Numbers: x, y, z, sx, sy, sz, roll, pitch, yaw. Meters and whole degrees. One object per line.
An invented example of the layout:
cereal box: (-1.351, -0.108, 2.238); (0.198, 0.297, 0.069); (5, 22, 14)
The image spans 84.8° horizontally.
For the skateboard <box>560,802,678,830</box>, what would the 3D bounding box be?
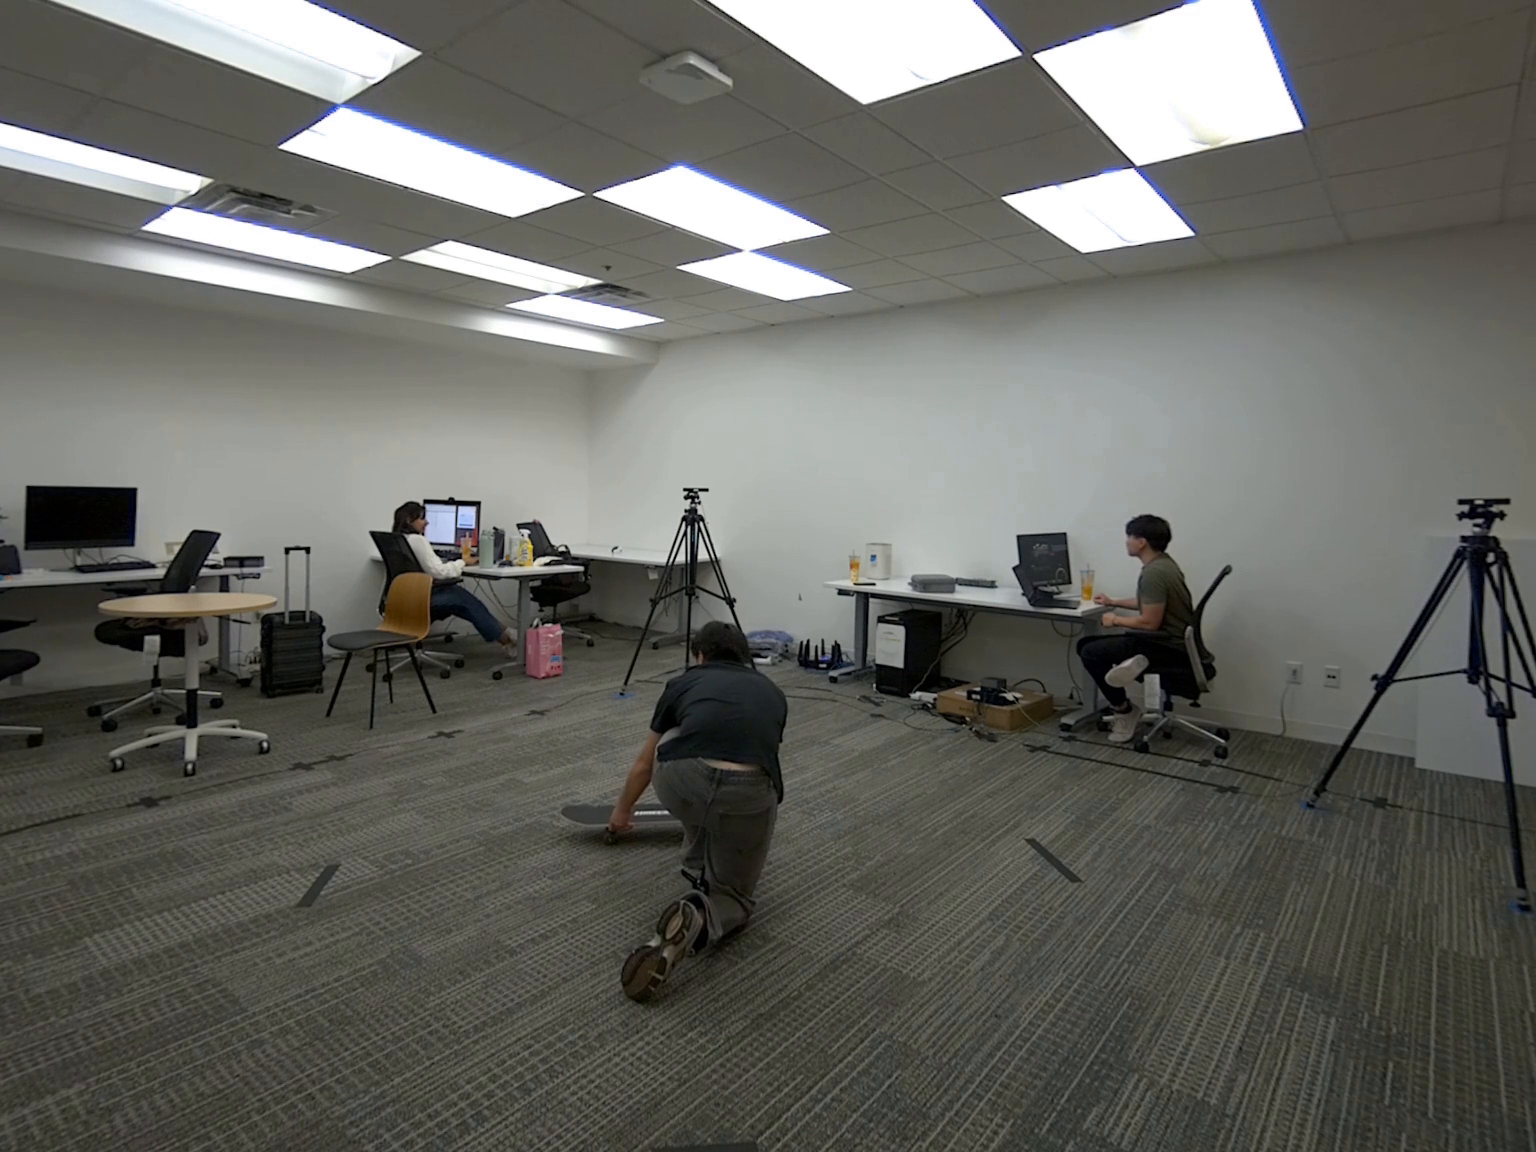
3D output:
skateboard: (-0.446, 0.972, 3.407); (0.779, 0.110, 0.196); (1, 5, -8)
